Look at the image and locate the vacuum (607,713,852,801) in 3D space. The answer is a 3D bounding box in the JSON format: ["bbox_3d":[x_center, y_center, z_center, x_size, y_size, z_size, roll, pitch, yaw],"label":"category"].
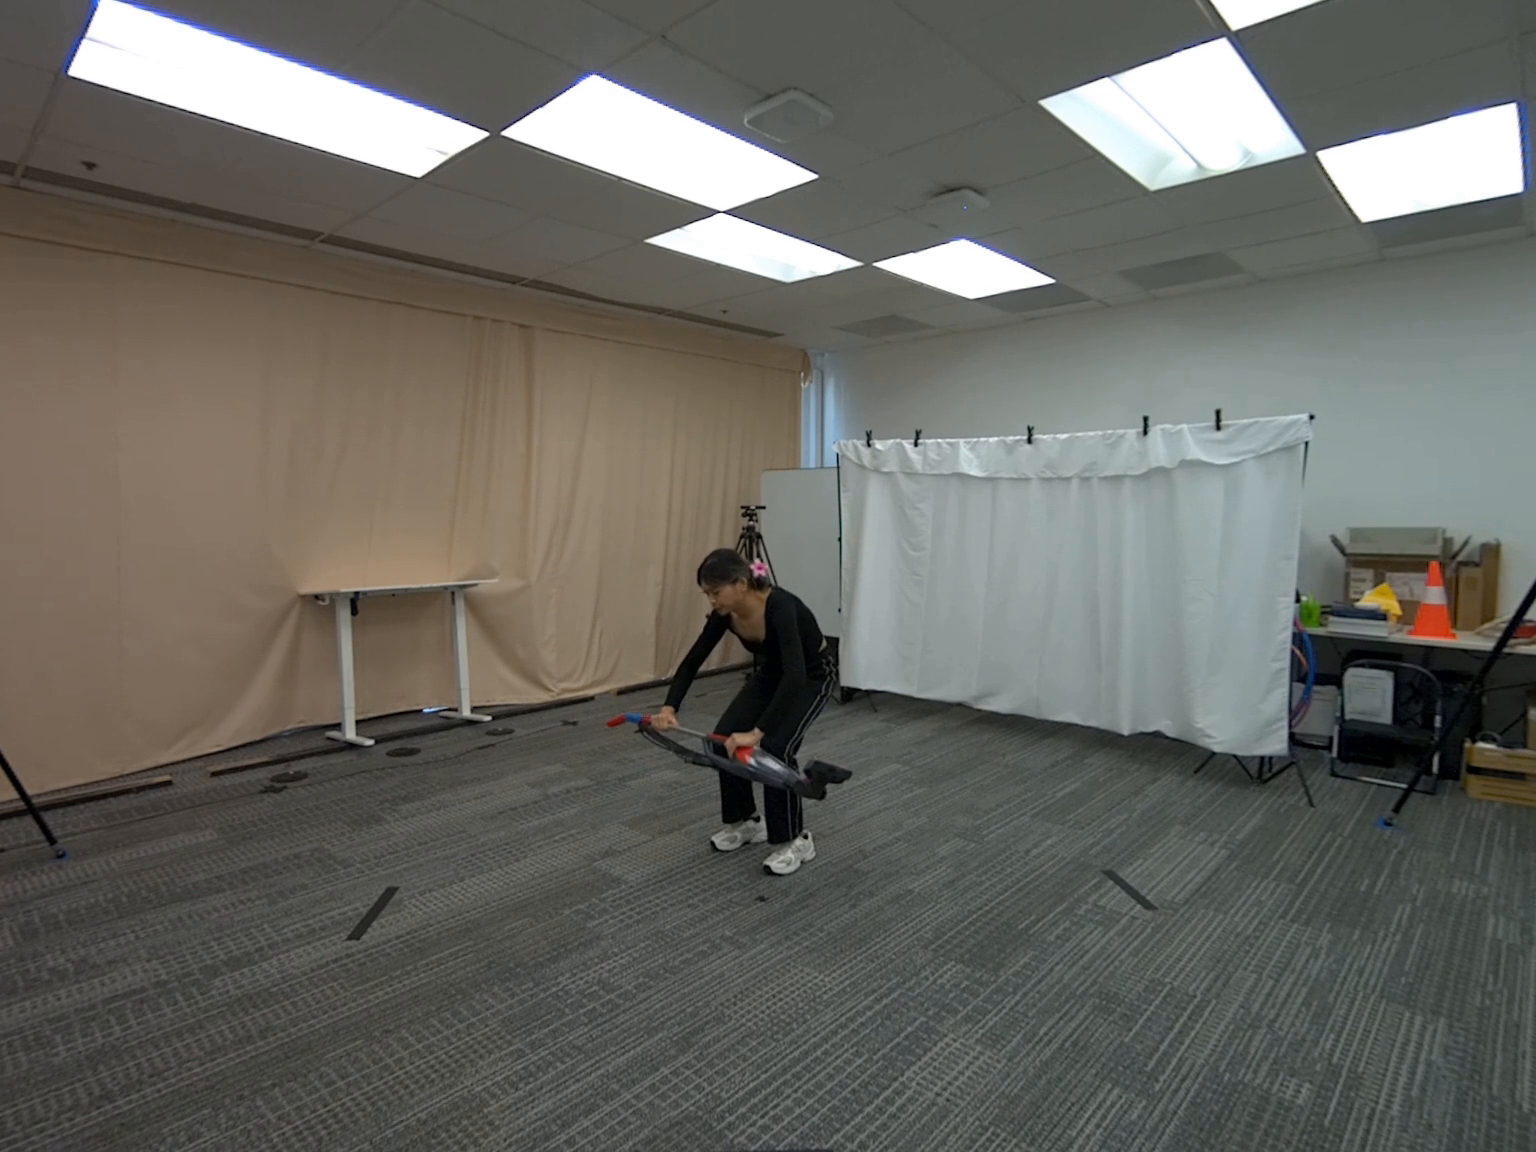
[{"bbox_3d":[-0.234,0.635,3.110,1.084,0.144,0.243,5,-18,40],"label":"vacuum"}]
